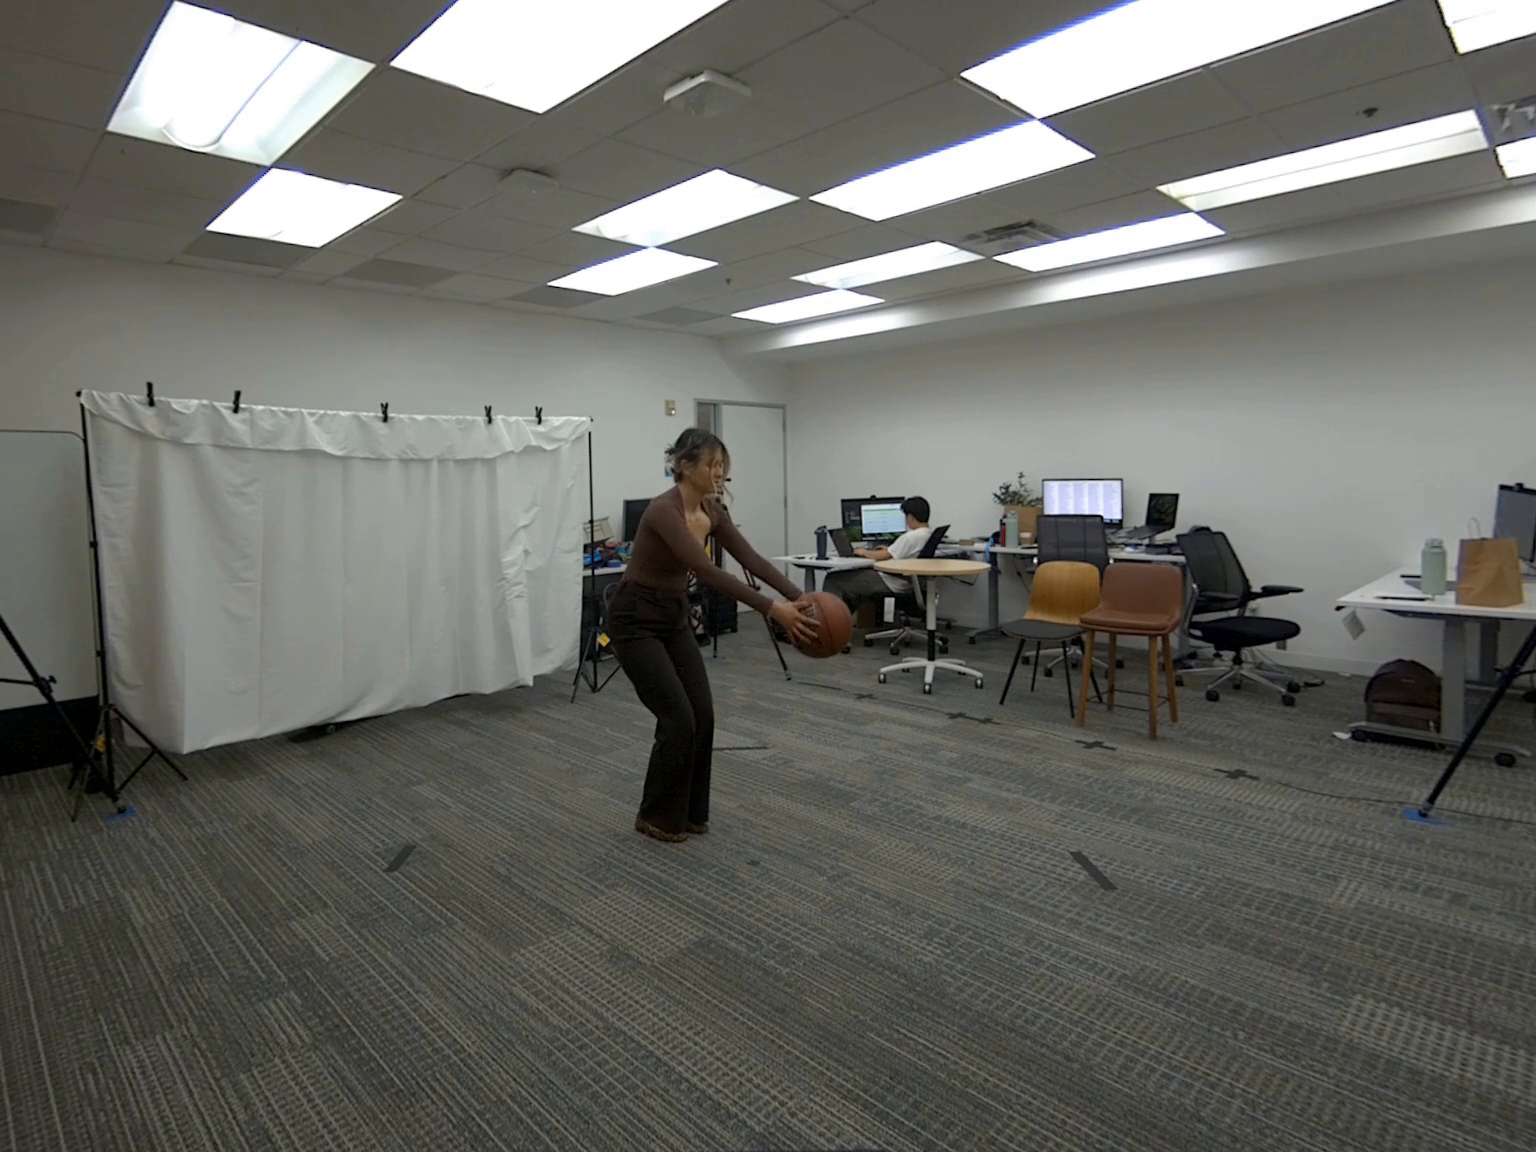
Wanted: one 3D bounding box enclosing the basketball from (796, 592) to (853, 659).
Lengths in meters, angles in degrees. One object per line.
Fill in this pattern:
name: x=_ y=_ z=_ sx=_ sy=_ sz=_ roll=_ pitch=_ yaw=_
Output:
basketball: x=0.179 y=0.172 z=3.051 sx=0.236 sy=0.235 sz=0.237 roll=-1 pitch=5 yaw=-2
